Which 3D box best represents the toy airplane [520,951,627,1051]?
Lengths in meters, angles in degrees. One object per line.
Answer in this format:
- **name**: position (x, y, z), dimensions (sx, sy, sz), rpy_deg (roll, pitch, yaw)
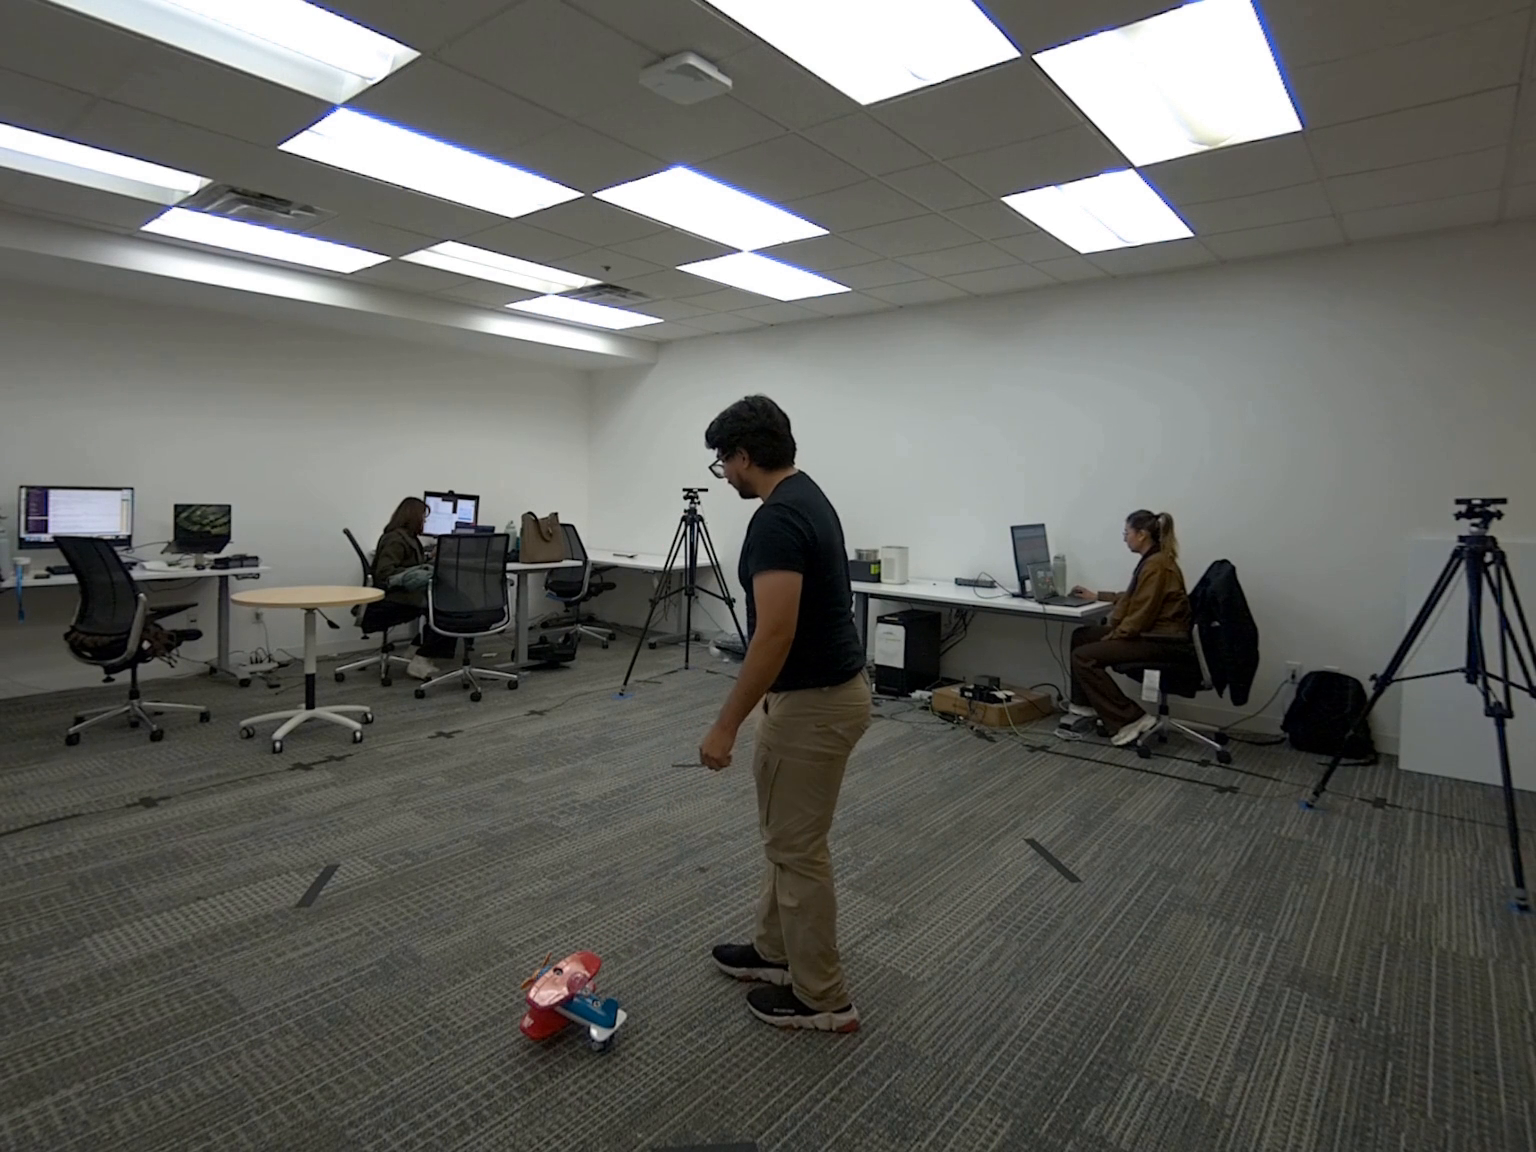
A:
- **toy airplane**: position (-0.491, 1.087, 2.175), dimensions (0.259, 0.156, 0.253), rpy_deg (-1, 5, -3)
